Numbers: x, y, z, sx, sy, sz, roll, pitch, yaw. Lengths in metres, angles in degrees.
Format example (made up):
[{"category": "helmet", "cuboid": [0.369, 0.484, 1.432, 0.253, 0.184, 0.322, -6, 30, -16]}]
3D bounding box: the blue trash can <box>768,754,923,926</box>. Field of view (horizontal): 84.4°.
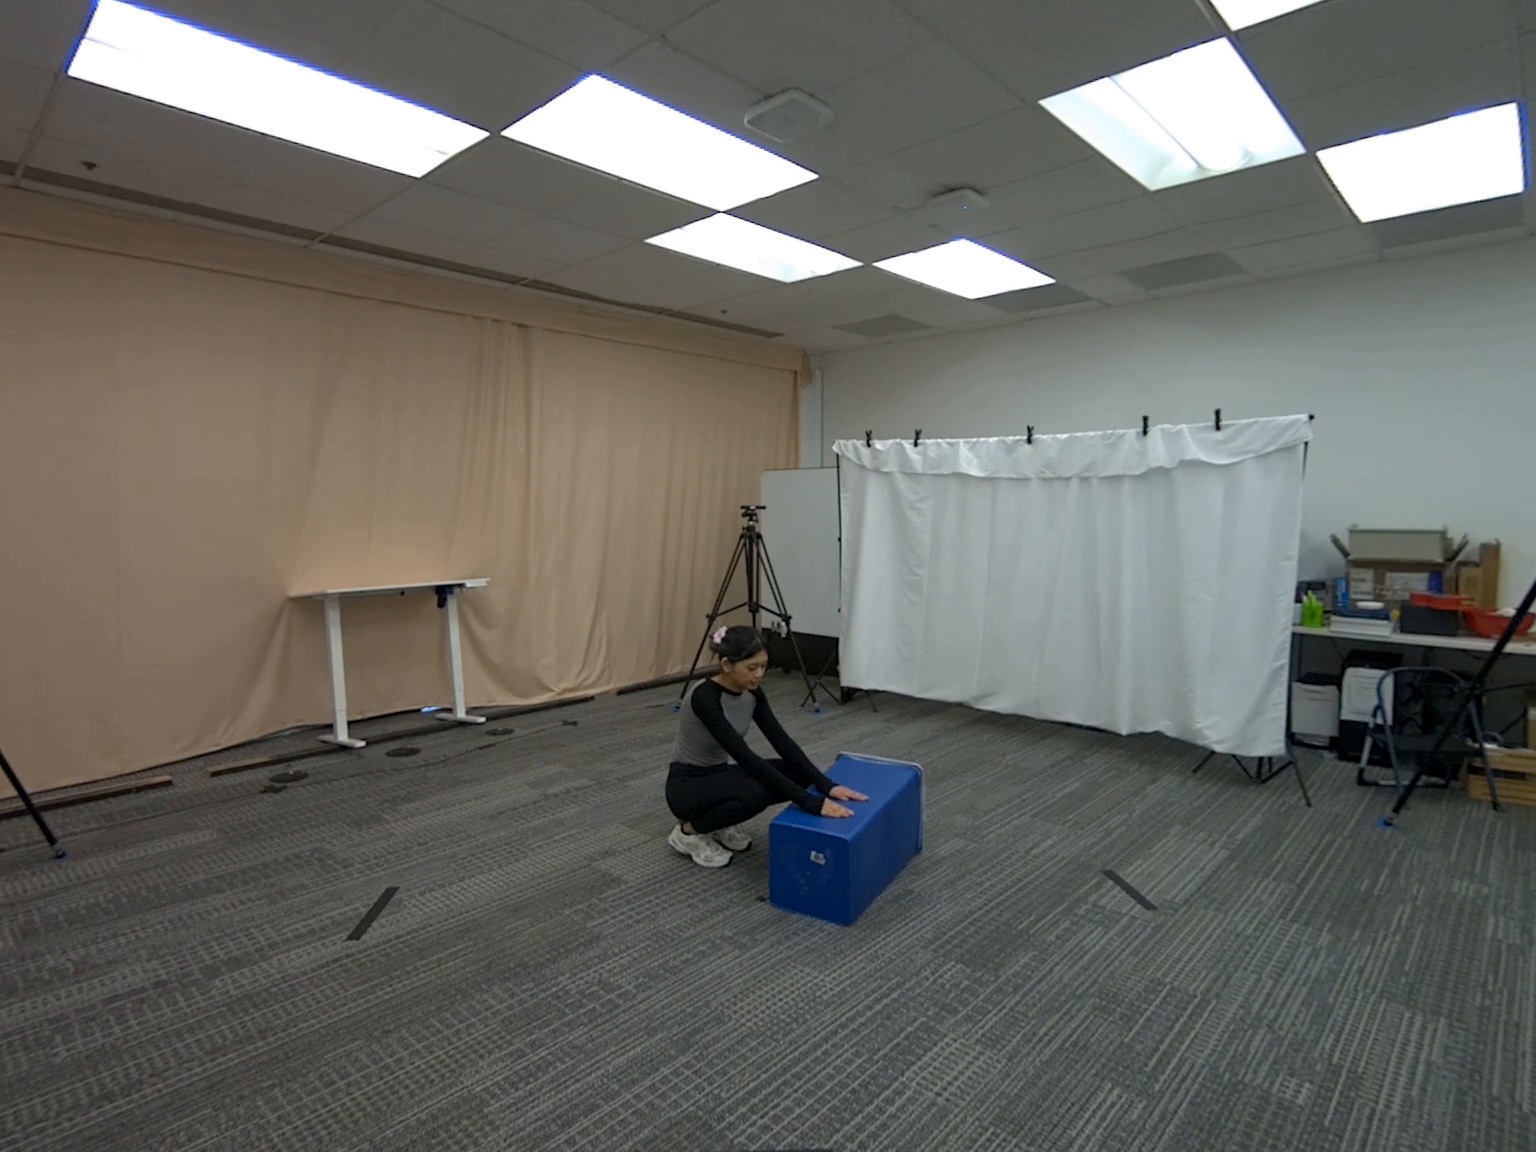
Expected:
[{"category": "blue trash can", "cuboid": [0.298, 0.962, 3.145, 0.385, 0.376, 0.696, 3, 8, 28]}]
